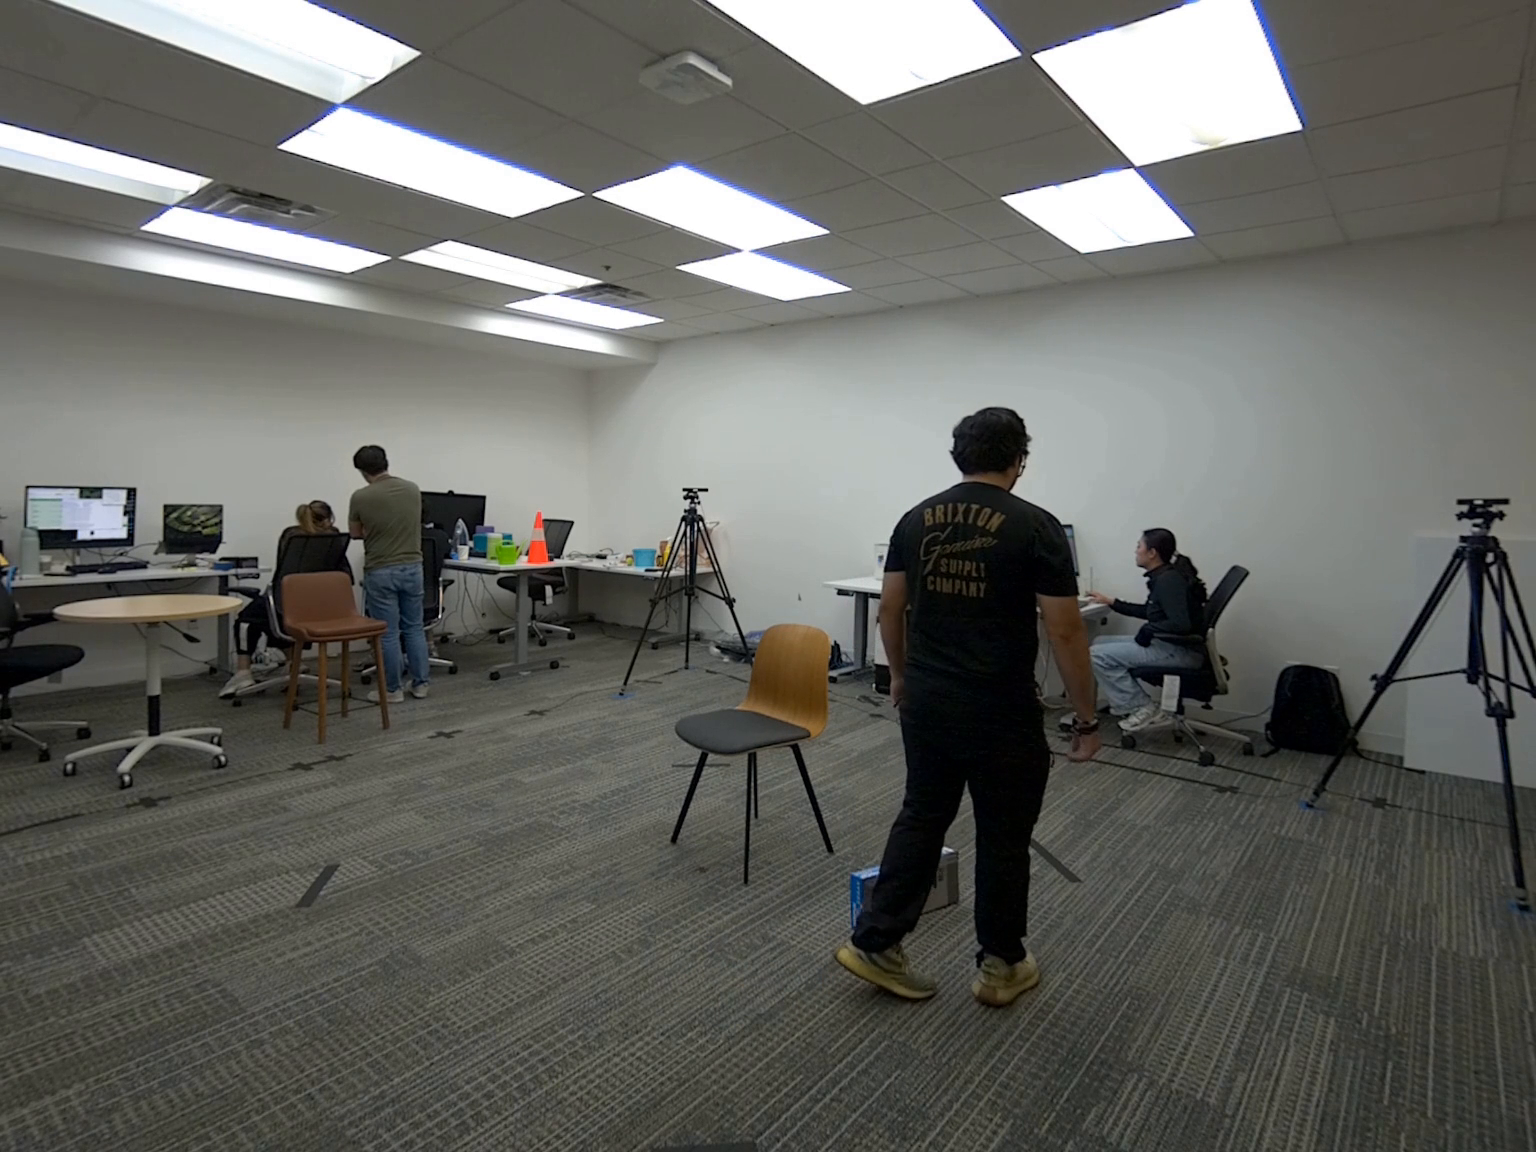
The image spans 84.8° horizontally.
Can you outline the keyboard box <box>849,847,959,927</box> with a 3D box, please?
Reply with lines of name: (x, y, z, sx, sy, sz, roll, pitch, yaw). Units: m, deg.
keyboard box: (0.456, 1.030, 2.807, 0.424, 0.176, 0.061, -2, 0, -34)
